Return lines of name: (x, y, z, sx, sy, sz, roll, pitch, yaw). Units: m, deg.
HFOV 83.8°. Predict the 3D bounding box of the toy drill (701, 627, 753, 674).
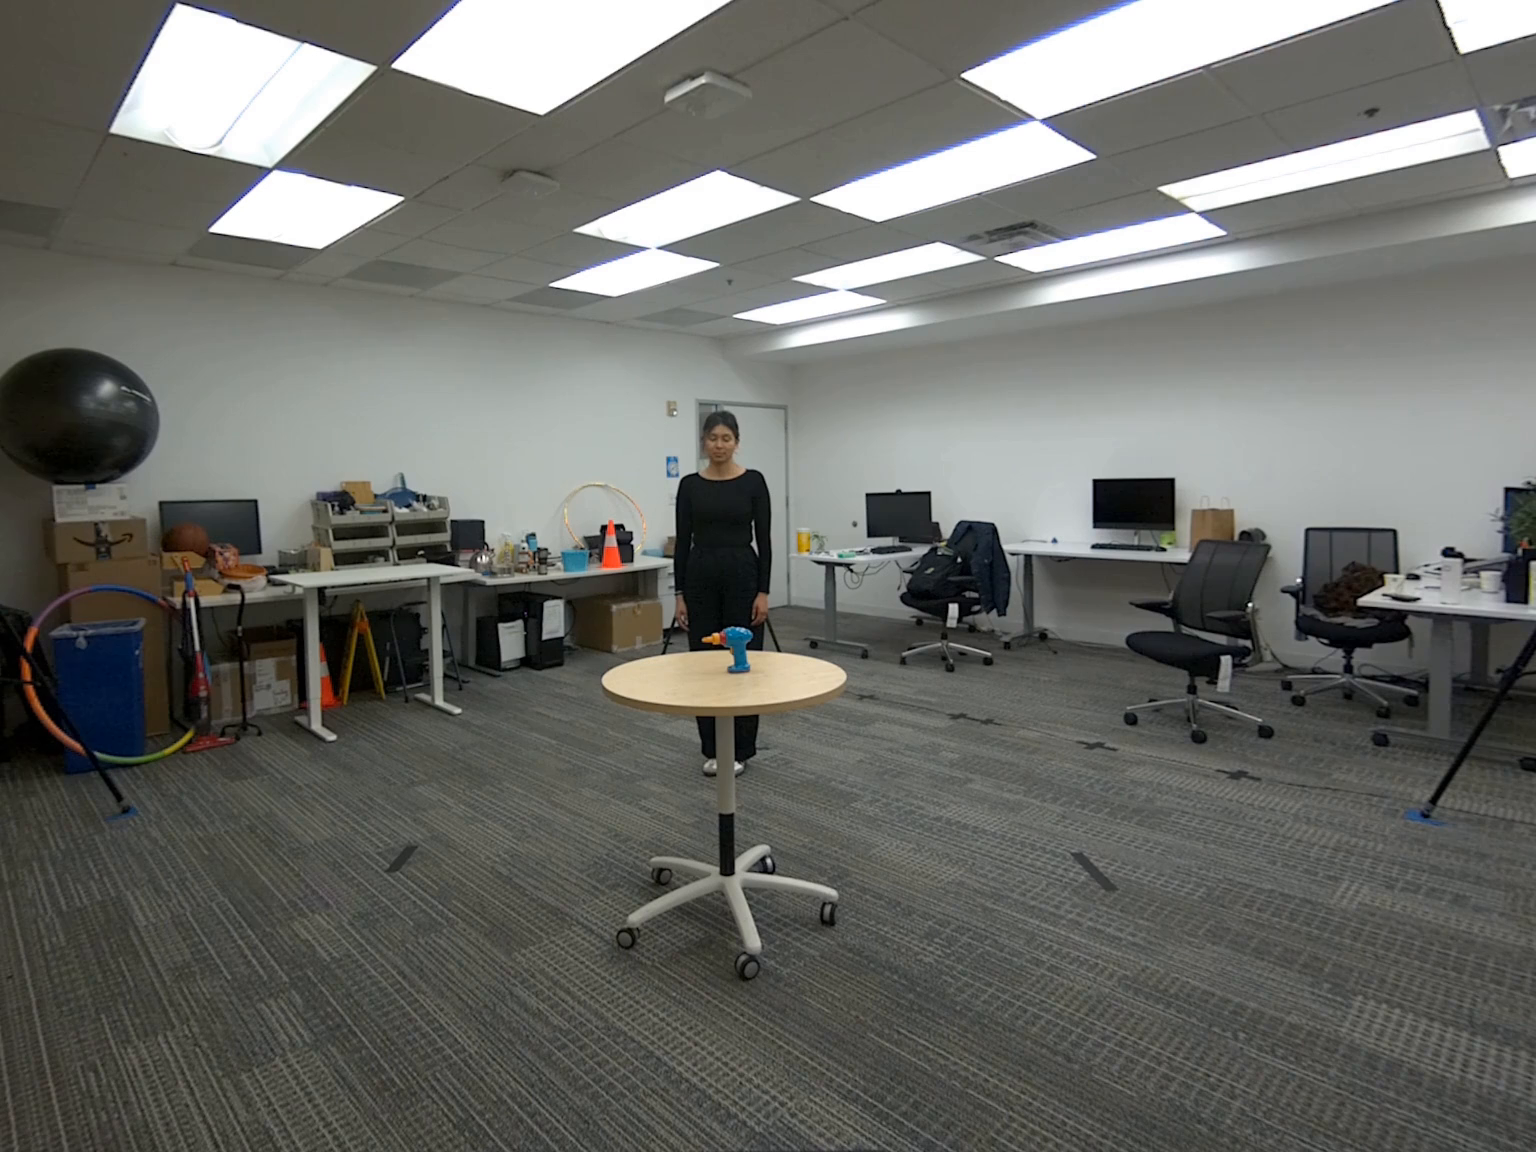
toy drill: (-0.134, 0.240, 2.711, 0.167, 0.145, 0.062, -3, 4, -19)
